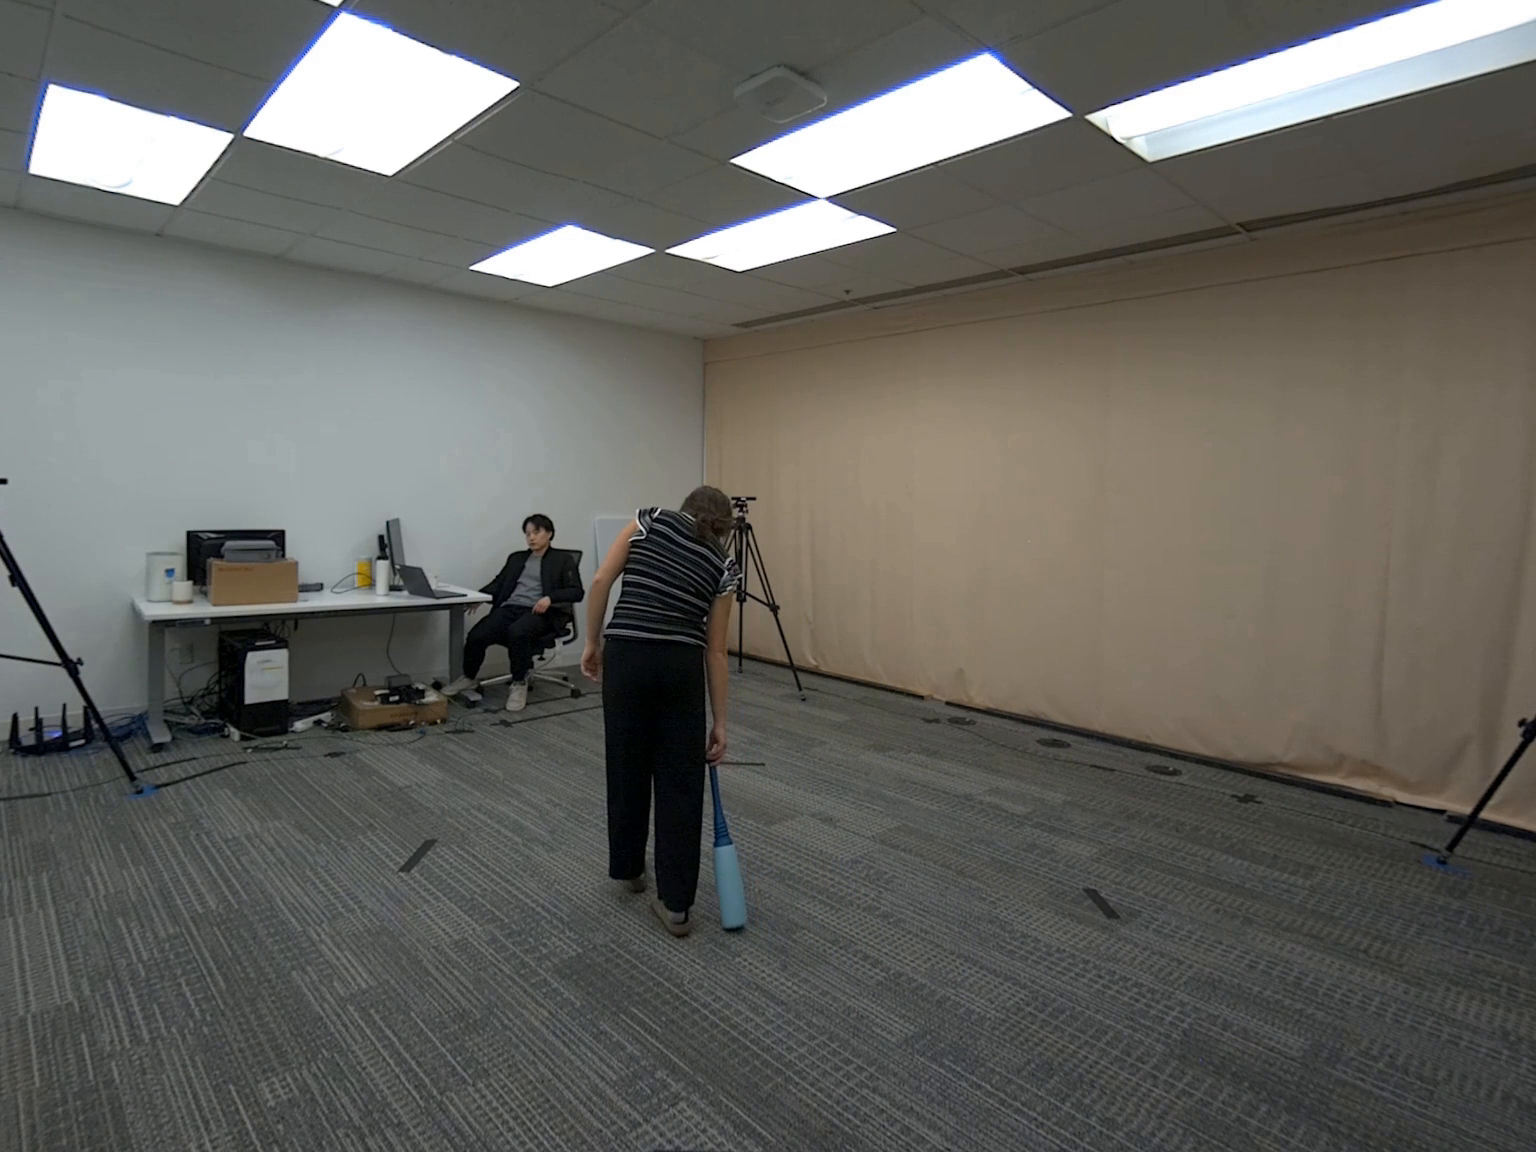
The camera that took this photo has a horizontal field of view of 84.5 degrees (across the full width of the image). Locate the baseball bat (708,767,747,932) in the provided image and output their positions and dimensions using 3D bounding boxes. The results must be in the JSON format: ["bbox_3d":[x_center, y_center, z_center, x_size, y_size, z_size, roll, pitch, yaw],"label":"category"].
[{"bbox_3d":[-0.165,0.881,2.789,0.089,0.550,0.088,-9,-16,-4],"label":"baseball bat"}]
